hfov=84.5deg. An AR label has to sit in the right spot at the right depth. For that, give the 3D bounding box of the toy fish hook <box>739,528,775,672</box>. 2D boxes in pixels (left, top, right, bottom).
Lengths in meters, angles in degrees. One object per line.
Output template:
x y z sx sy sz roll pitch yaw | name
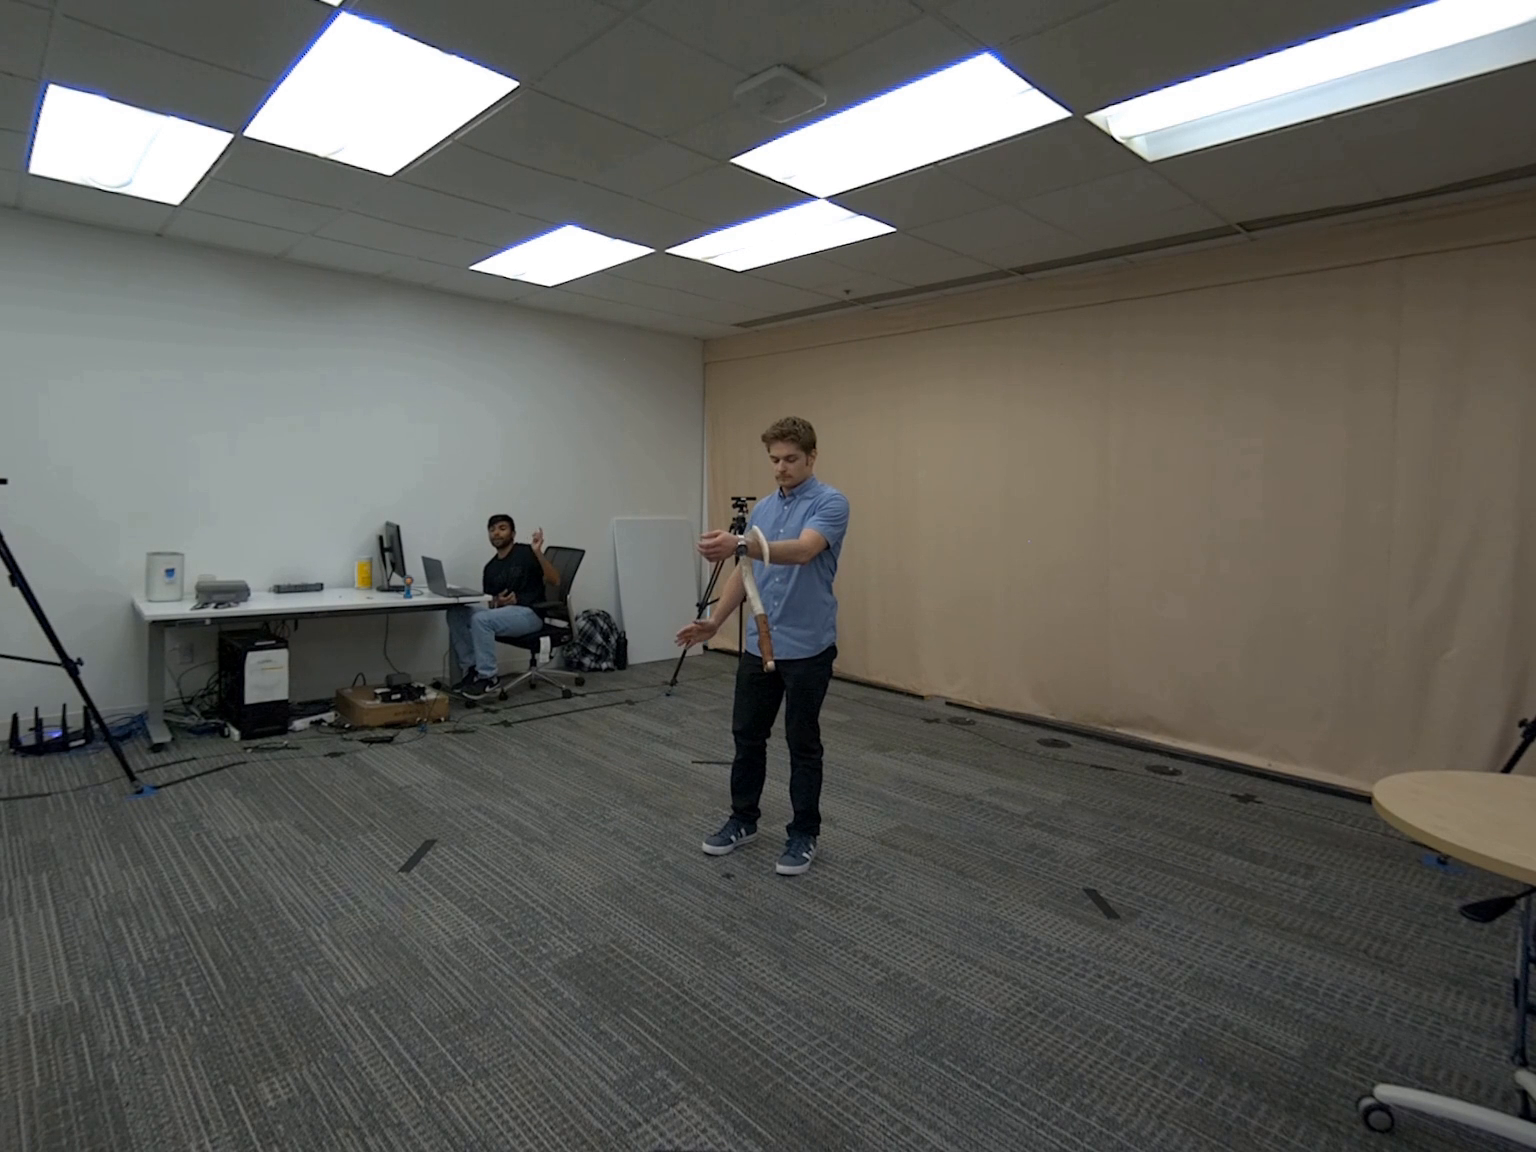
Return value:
-0.041 0.071 2.832 0.048 0.518 0.221 -4 -29 -9 | toy fish hook
